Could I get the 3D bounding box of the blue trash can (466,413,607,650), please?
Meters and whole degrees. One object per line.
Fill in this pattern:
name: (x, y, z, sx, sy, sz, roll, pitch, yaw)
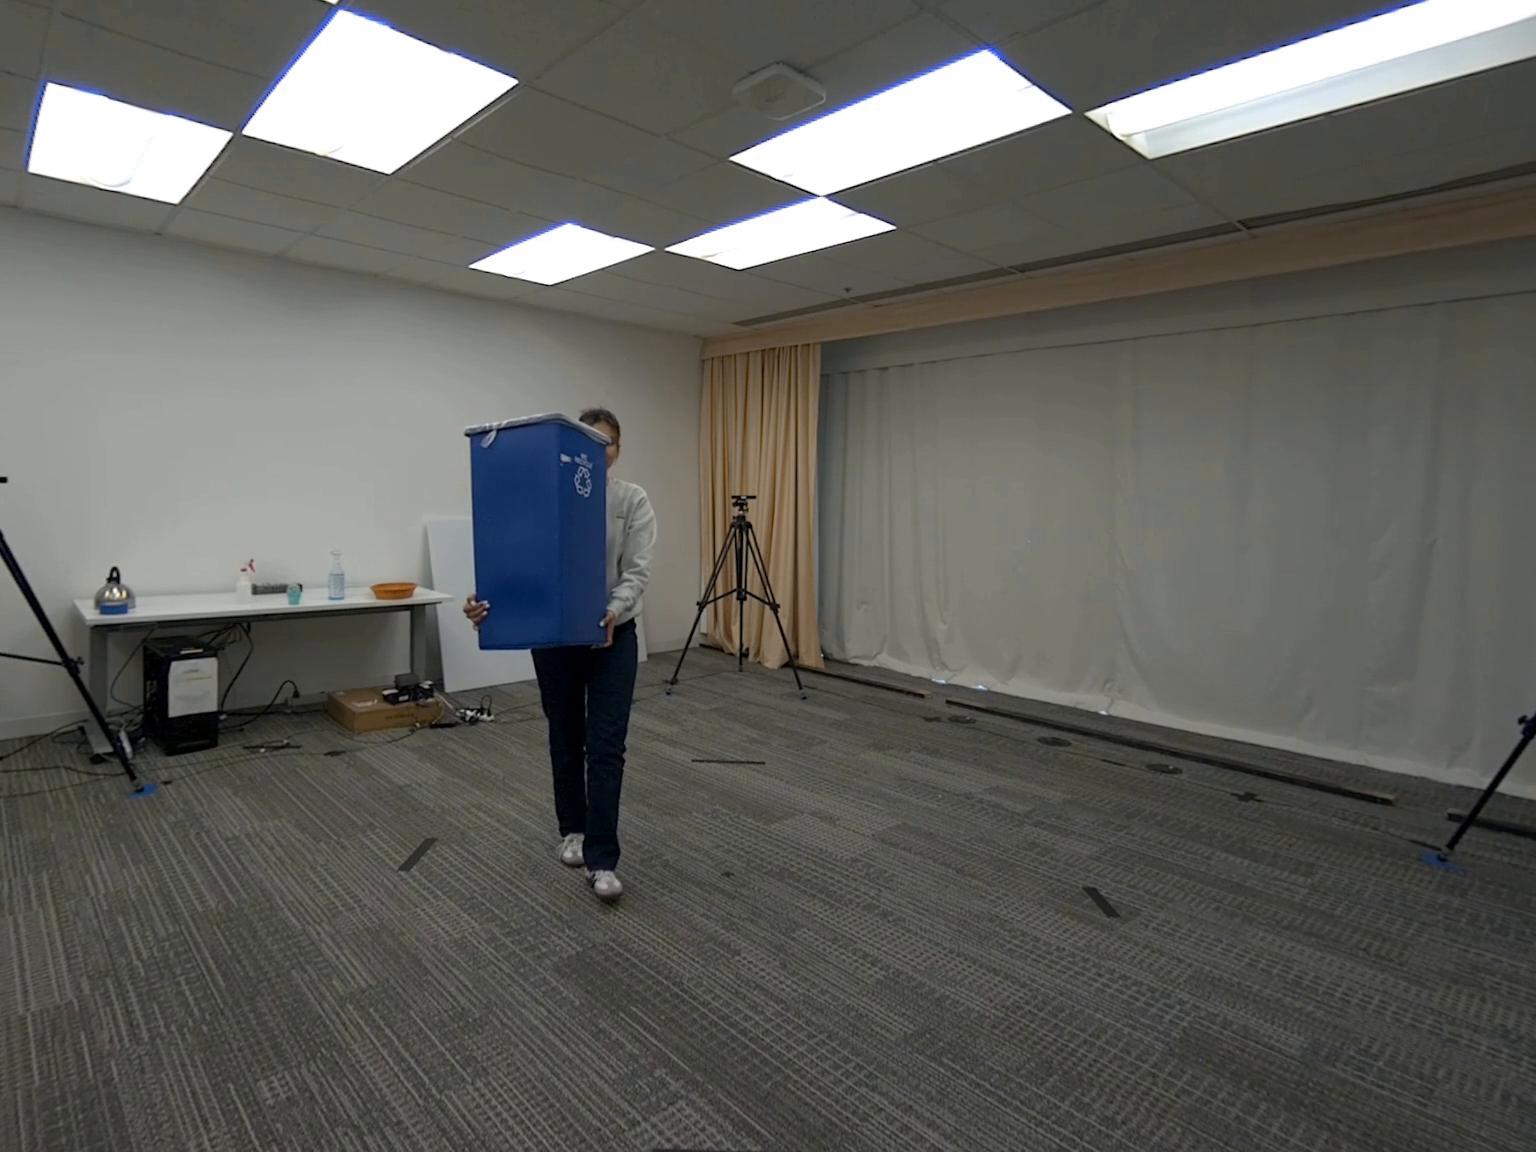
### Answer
blue trash can: (-0.757, -0.125, 2.767, 0.383, 0.718, 0.367, -5, -7, 17)
